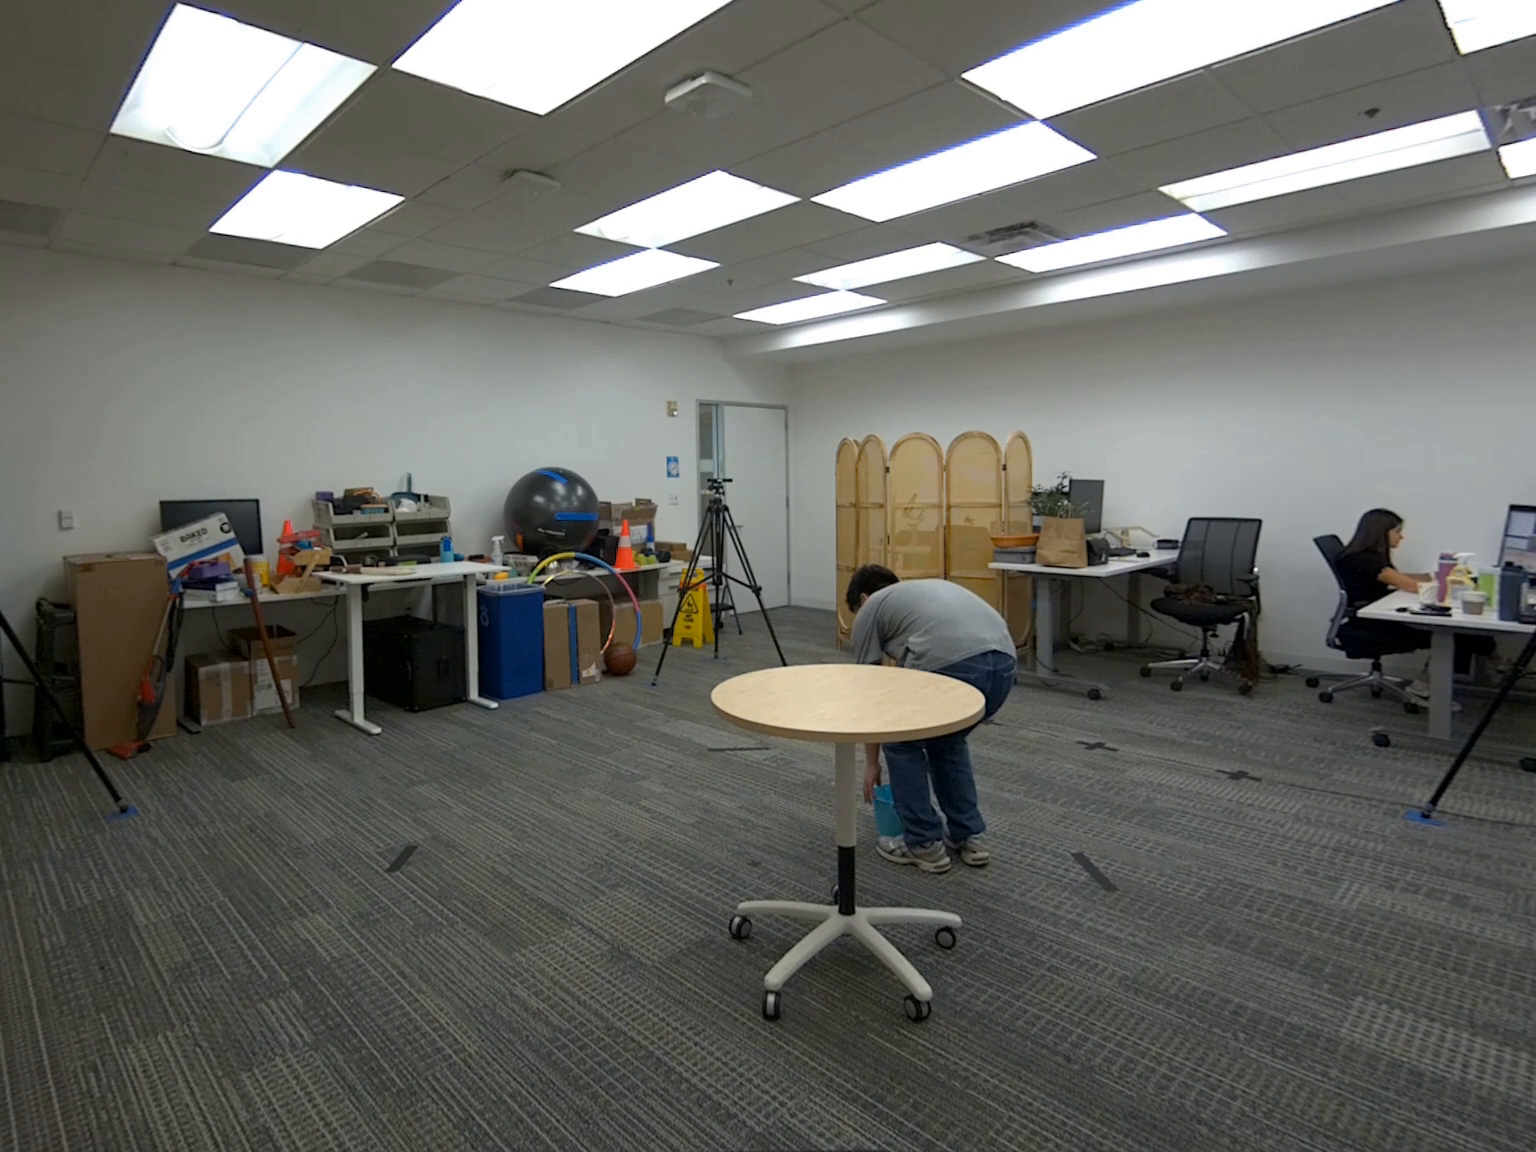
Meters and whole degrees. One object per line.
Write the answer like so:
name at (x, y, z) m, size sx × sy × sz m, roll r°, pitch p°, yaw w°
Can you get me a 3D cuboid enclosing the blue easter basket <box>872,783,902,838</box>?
blue easter basket at (0.534, 0.930, 3.356) m, size 0.243 × 0.155 × 0.245 m, roll 0°, pitch 5°, yaw -2°
